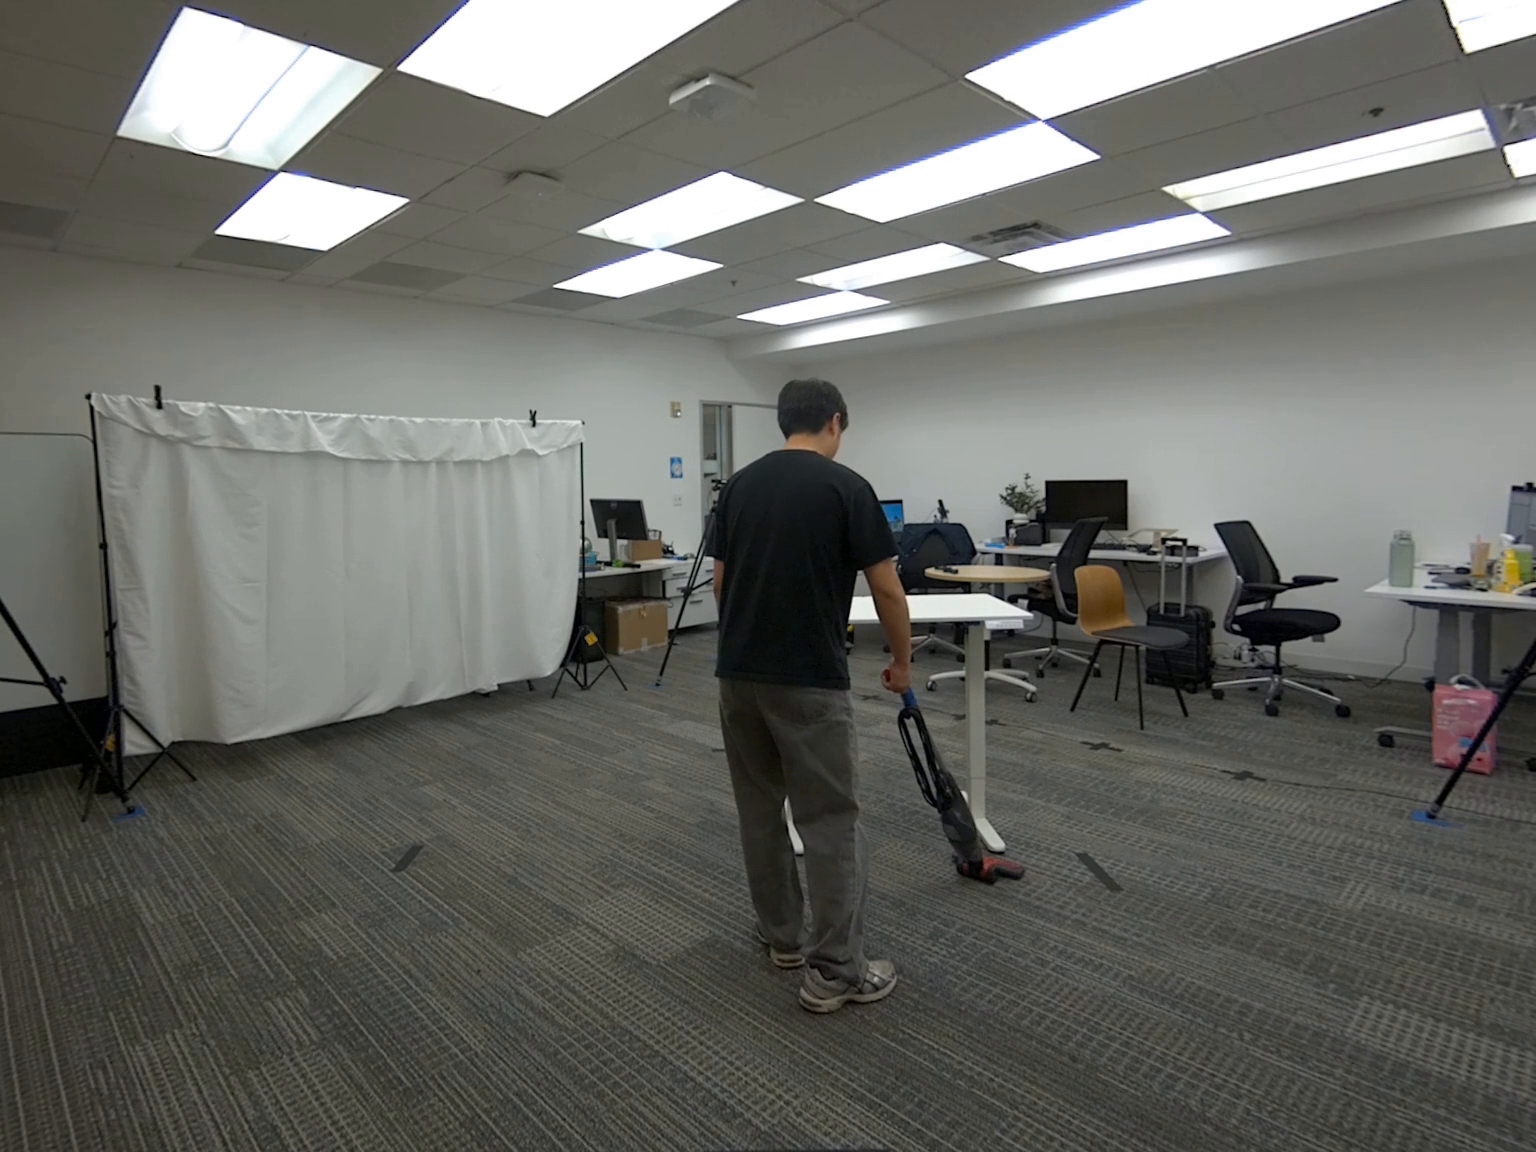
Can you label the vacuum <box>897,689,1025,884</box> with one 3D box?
[{"bbox_3d":[0.549,0.657,2.723,0.260,1.014,0.145,1,43,37],"label":"vacuum"}]
